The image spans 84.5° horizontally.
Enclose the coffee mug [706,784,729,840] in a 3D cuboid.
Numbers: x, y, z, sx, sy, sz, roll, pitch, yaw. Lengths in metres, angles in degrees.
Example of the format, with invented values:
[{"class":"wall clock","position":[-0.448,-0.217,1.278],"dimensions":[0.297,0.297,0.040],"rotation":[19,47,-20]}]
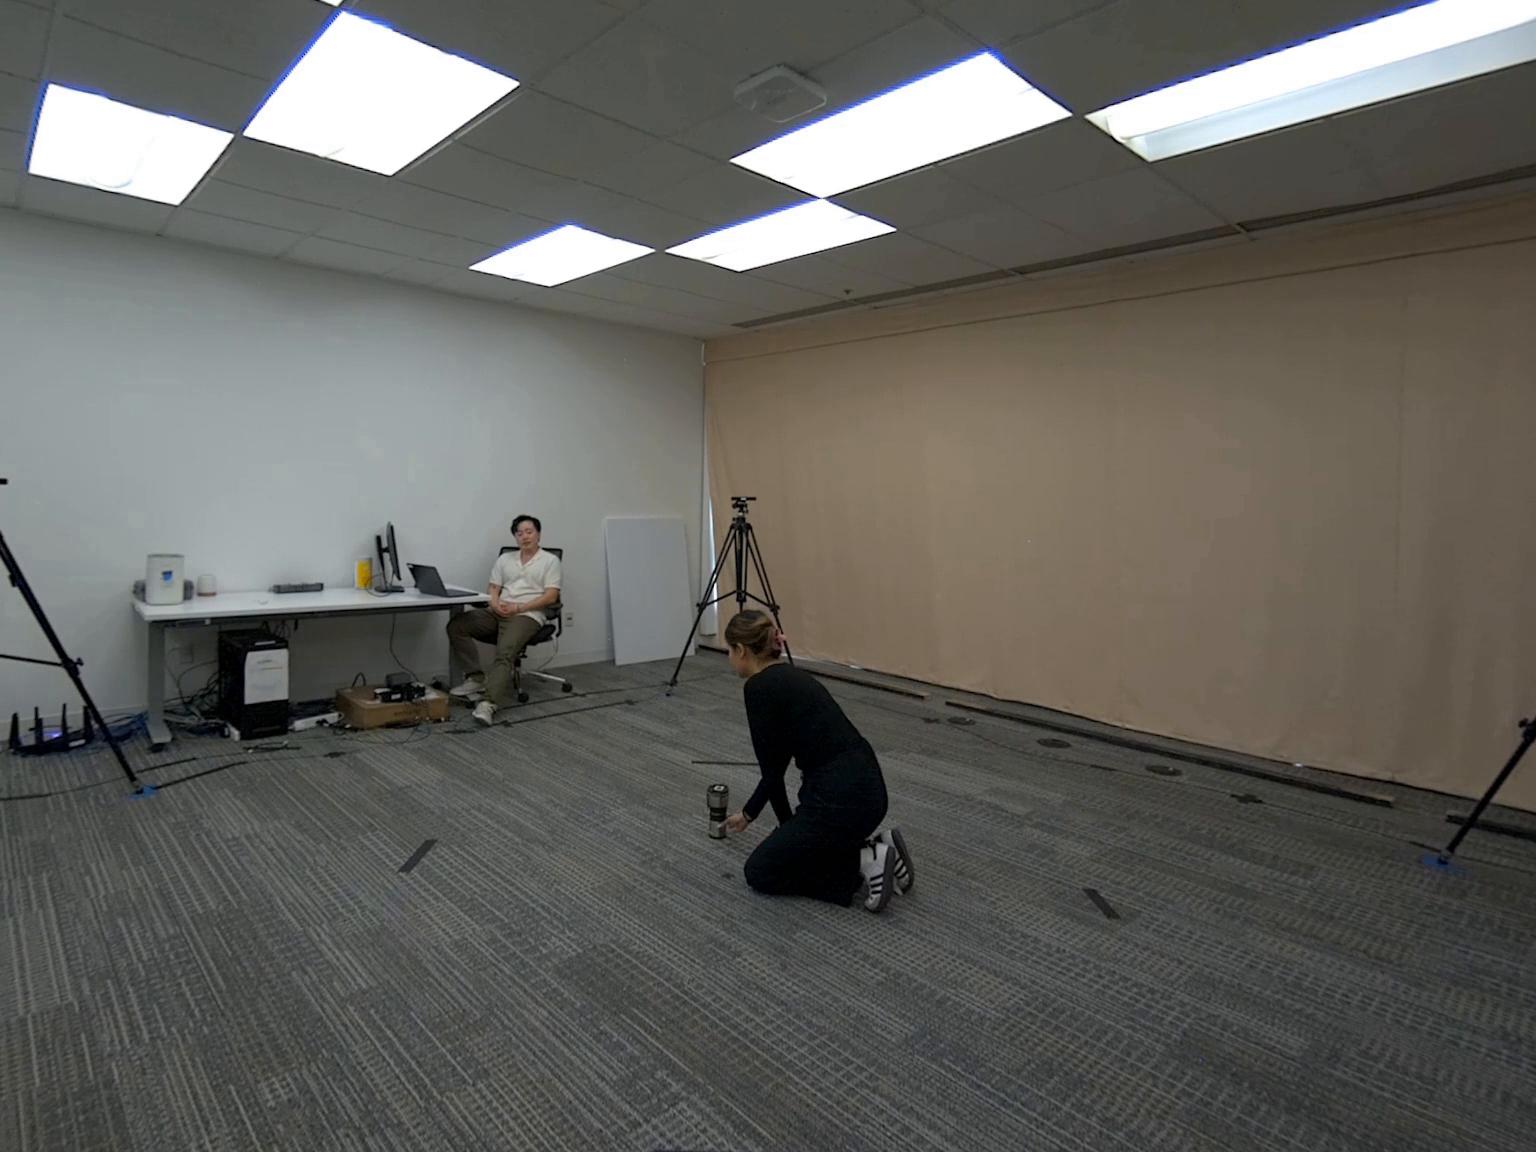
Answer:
[{"class":"coffee mug","position":[-0.216,0.973,3.490],"dimensions":[0.088,0.202,0.122],"rotation":[1,5,-1]}]
